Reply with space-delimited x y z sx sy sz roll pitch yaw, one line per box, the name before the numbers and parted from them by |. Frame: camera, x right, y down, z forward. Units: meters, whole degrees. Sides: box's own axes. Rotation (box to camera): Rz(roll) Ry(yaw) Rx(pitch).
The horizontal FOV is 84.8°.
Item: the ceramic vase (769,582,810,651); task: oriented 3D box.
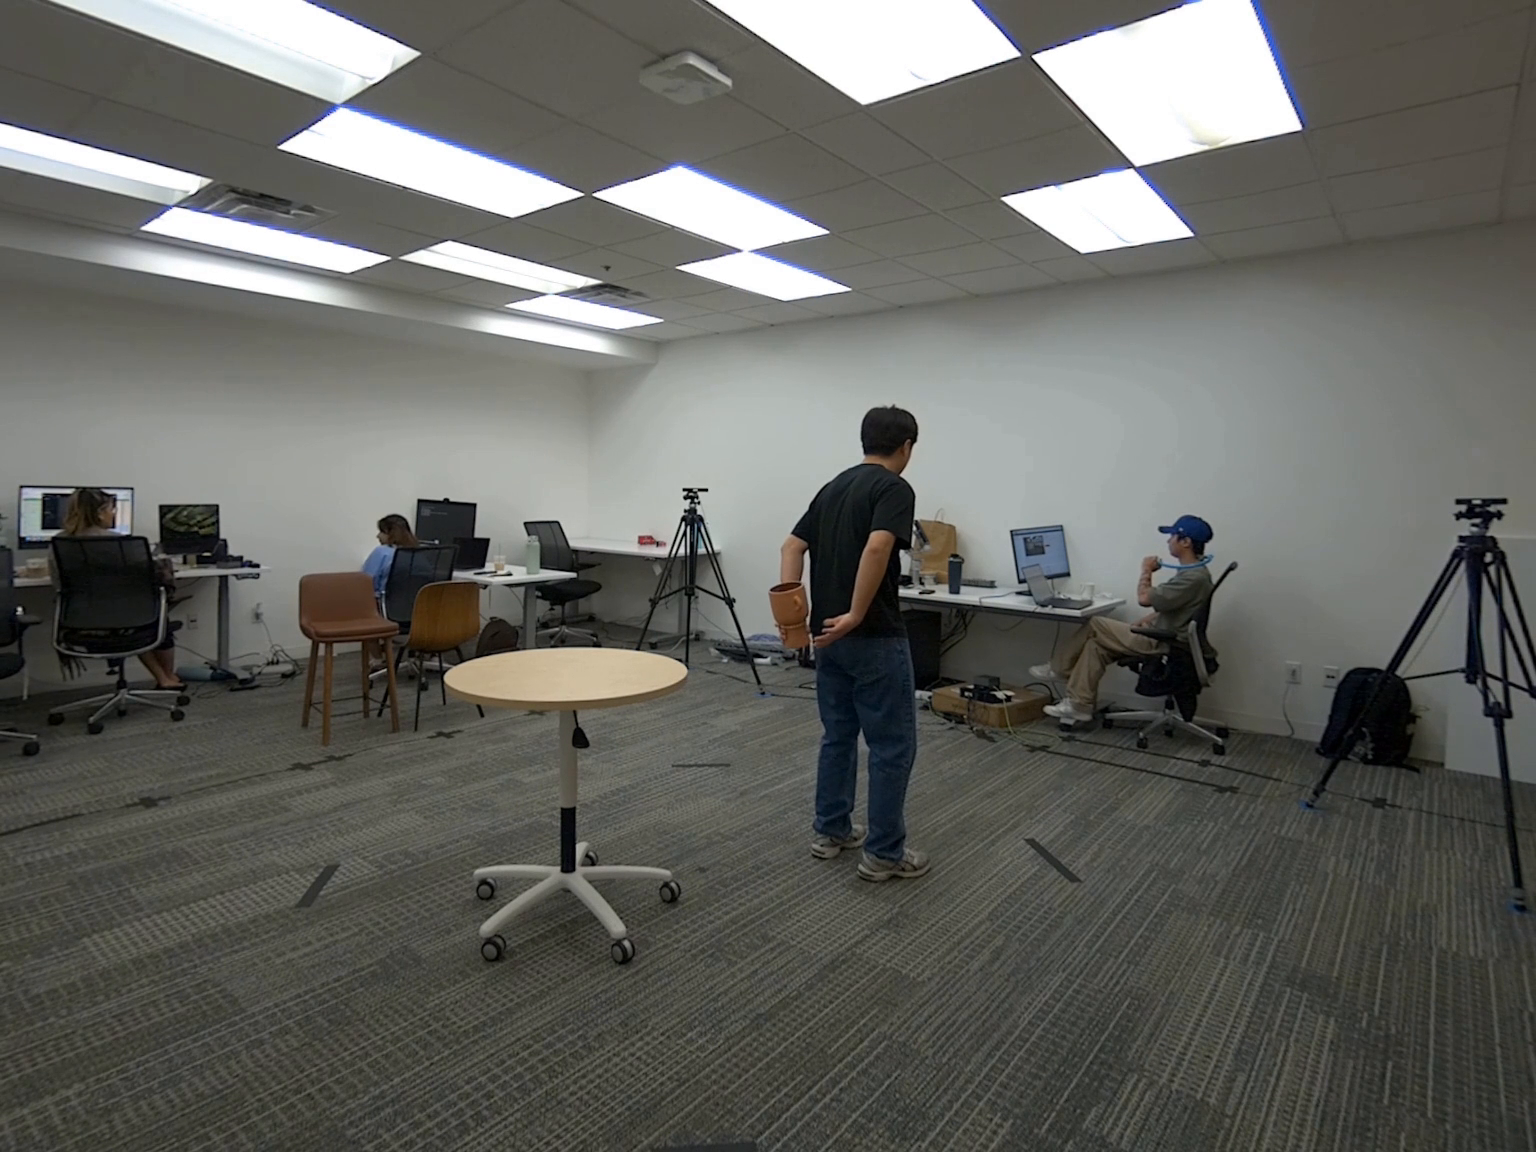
ceramic vase | 0.083 0.136 3.096 0.137 0.217 0.158 -8 12 17
